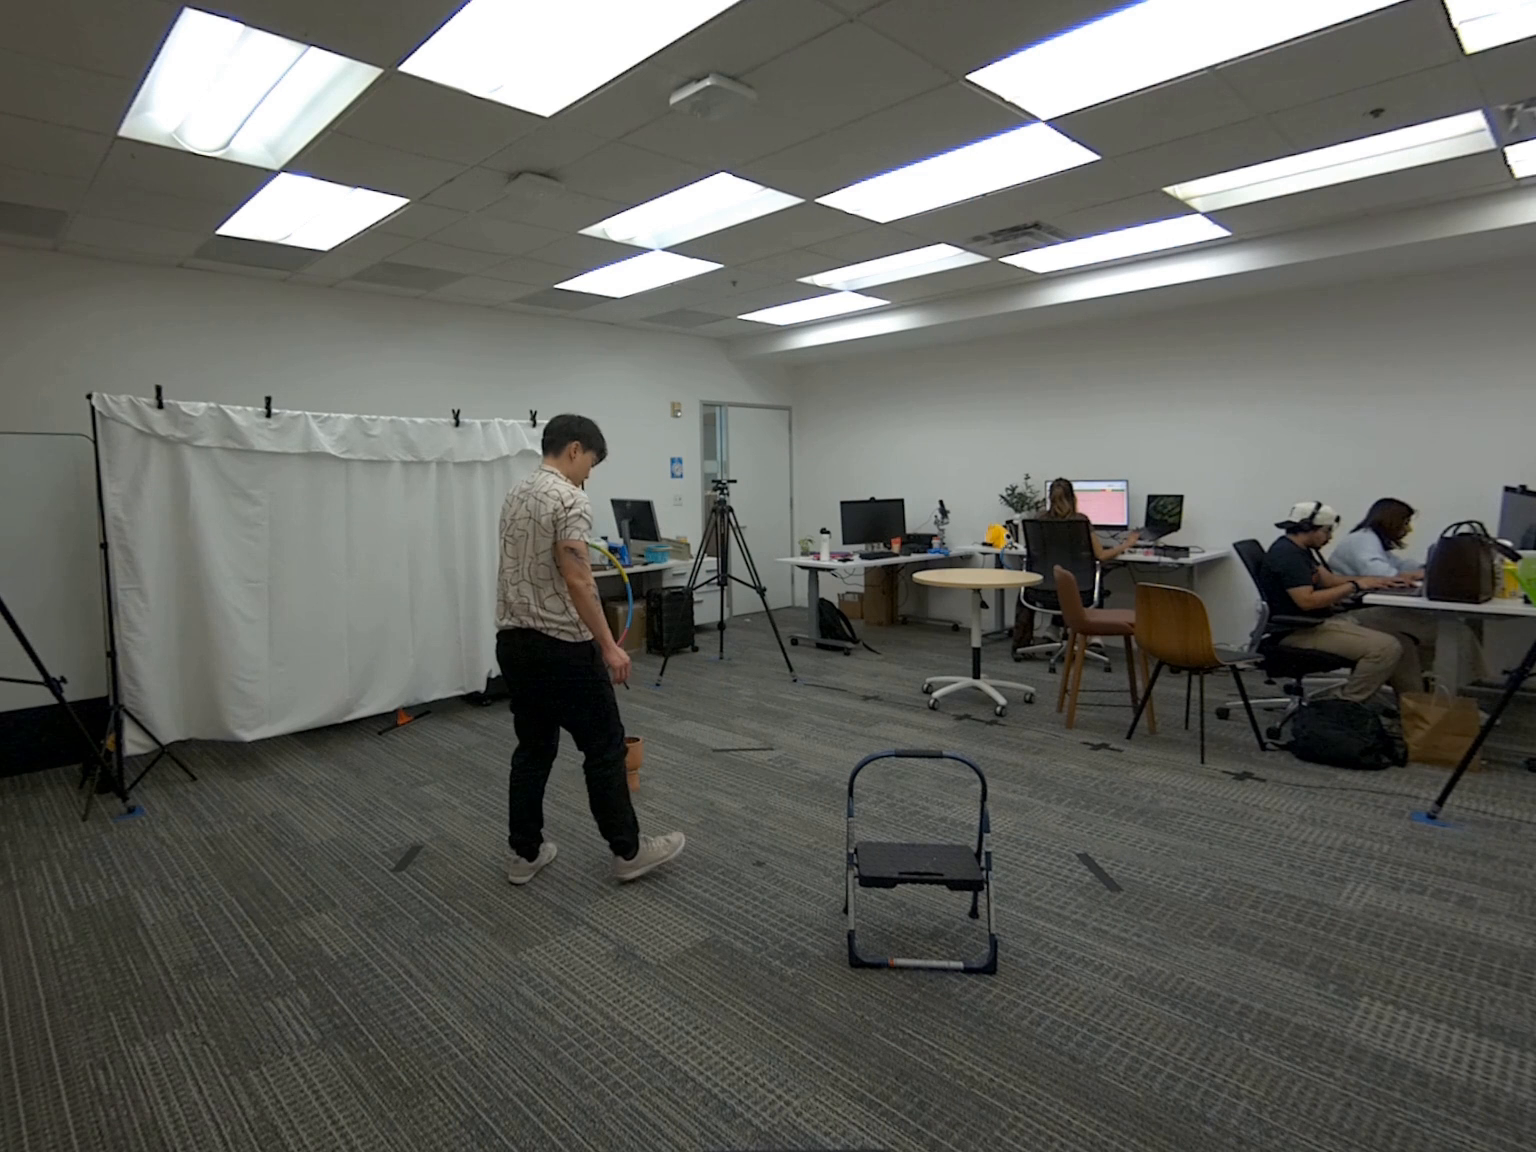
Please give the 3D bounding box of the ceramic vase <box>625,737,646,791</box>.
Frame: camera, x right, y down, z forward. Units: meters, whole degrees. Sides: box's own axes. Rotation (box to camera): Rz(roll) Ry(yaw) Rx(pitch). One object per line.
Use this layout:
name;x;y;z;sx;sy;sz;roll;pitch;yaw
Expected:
ceramic vase;-0.637;0.861;3.921;0.138;0.219;0.155;1;5;39
